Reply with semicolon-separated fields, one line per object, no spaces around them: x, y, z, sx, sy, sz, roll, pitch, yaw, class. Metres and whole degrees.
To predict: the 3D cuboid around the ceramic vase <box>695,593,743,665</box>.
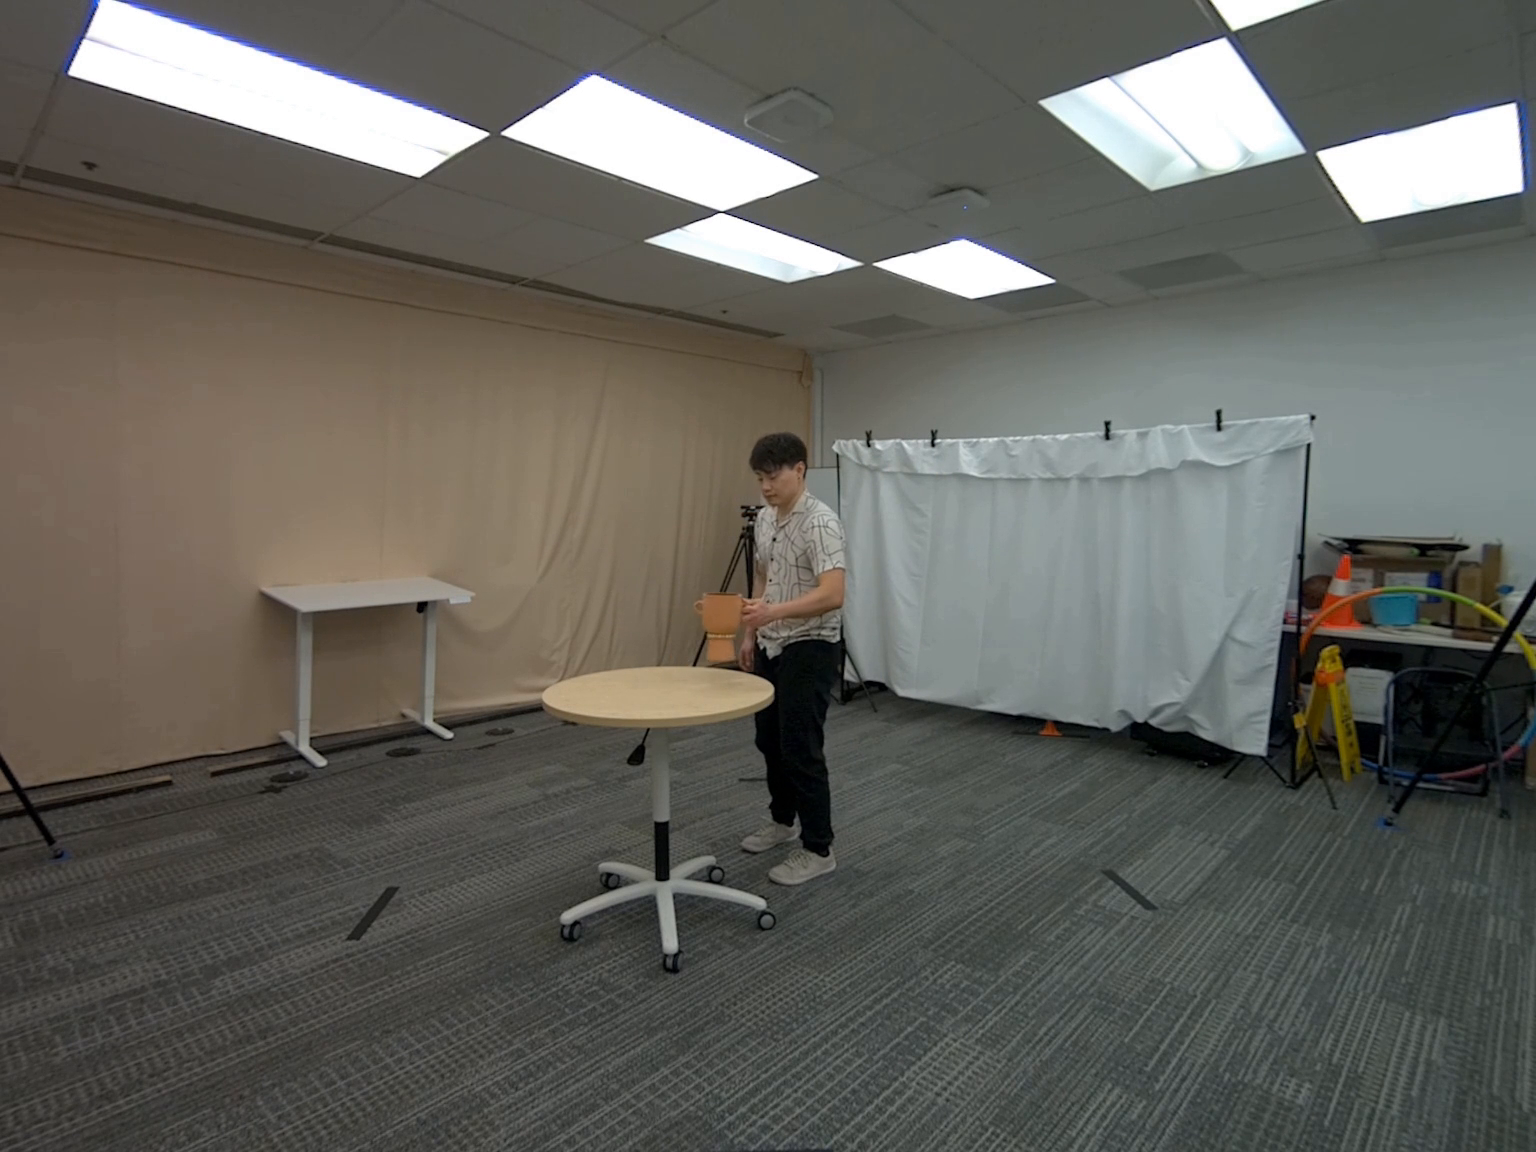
-0.152;0.175;2.849;0.164;0.219;0.130;2;2;44;ceramic vase
